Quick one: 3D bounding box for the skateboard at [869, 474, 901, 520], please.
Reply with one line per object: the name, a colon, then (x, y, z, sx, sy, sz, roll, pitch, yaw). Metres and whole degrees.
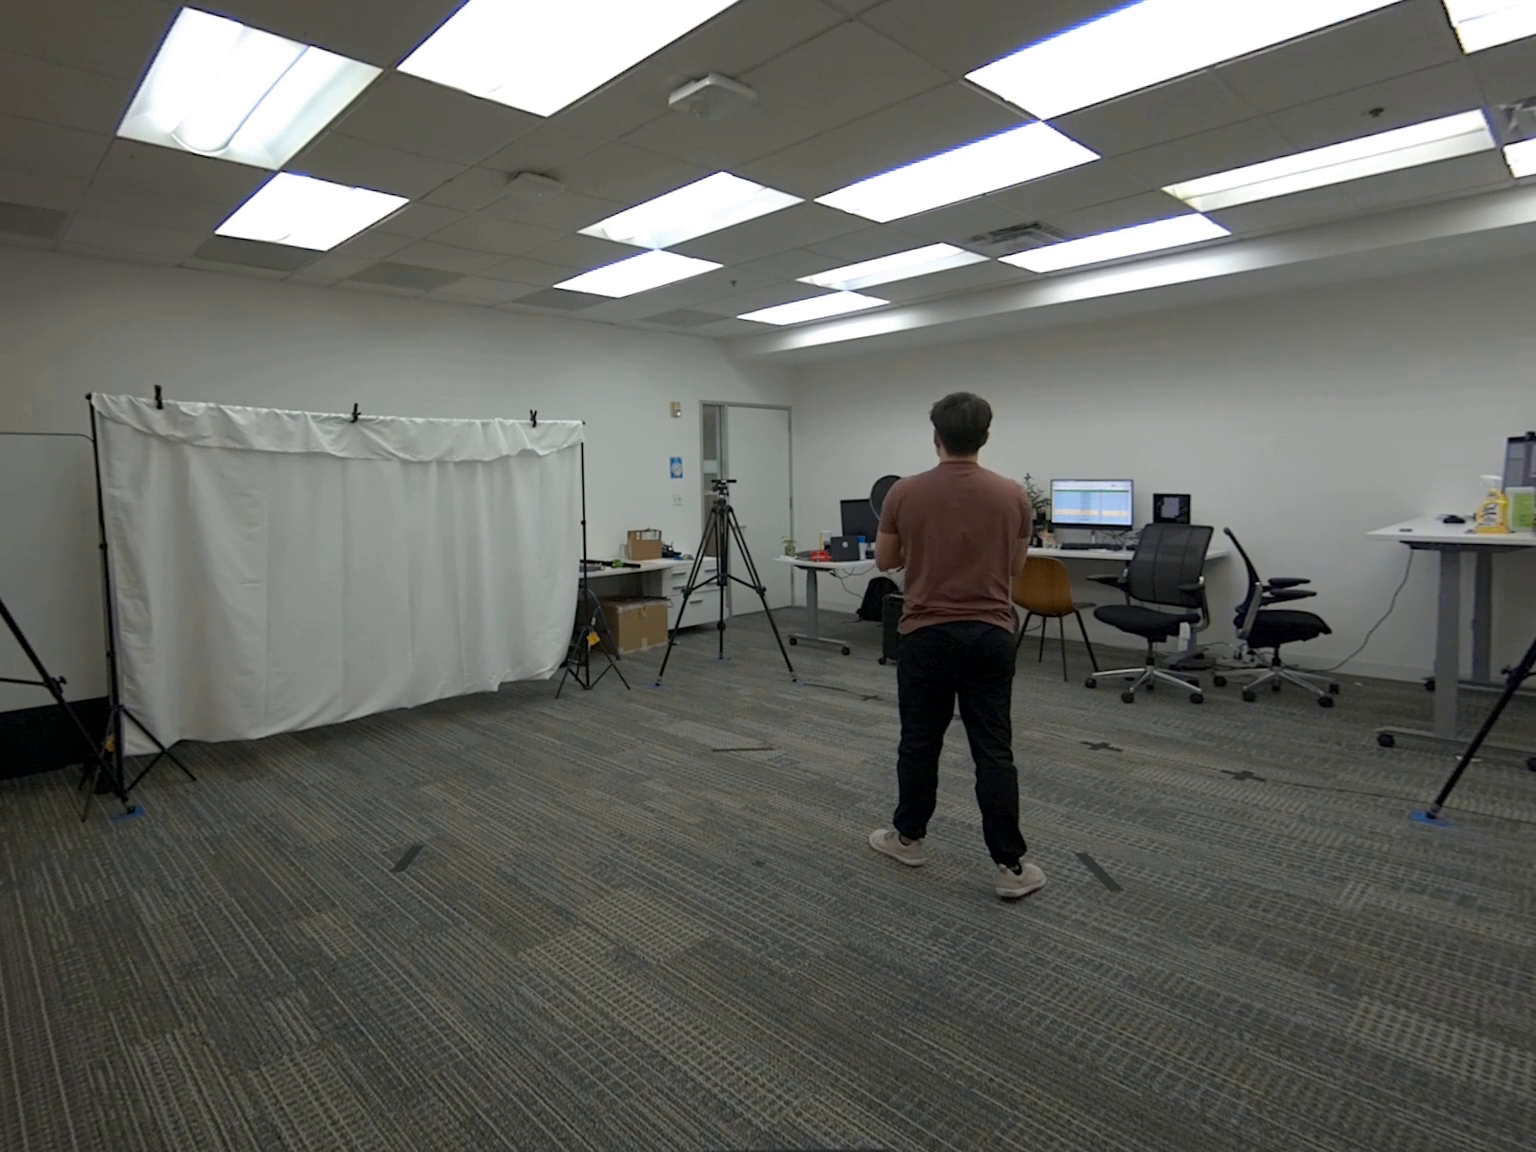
skateboard: (0.690, -0.062, 3.341, 0.193, 0.796, 0.109, -37, -10, -5)
